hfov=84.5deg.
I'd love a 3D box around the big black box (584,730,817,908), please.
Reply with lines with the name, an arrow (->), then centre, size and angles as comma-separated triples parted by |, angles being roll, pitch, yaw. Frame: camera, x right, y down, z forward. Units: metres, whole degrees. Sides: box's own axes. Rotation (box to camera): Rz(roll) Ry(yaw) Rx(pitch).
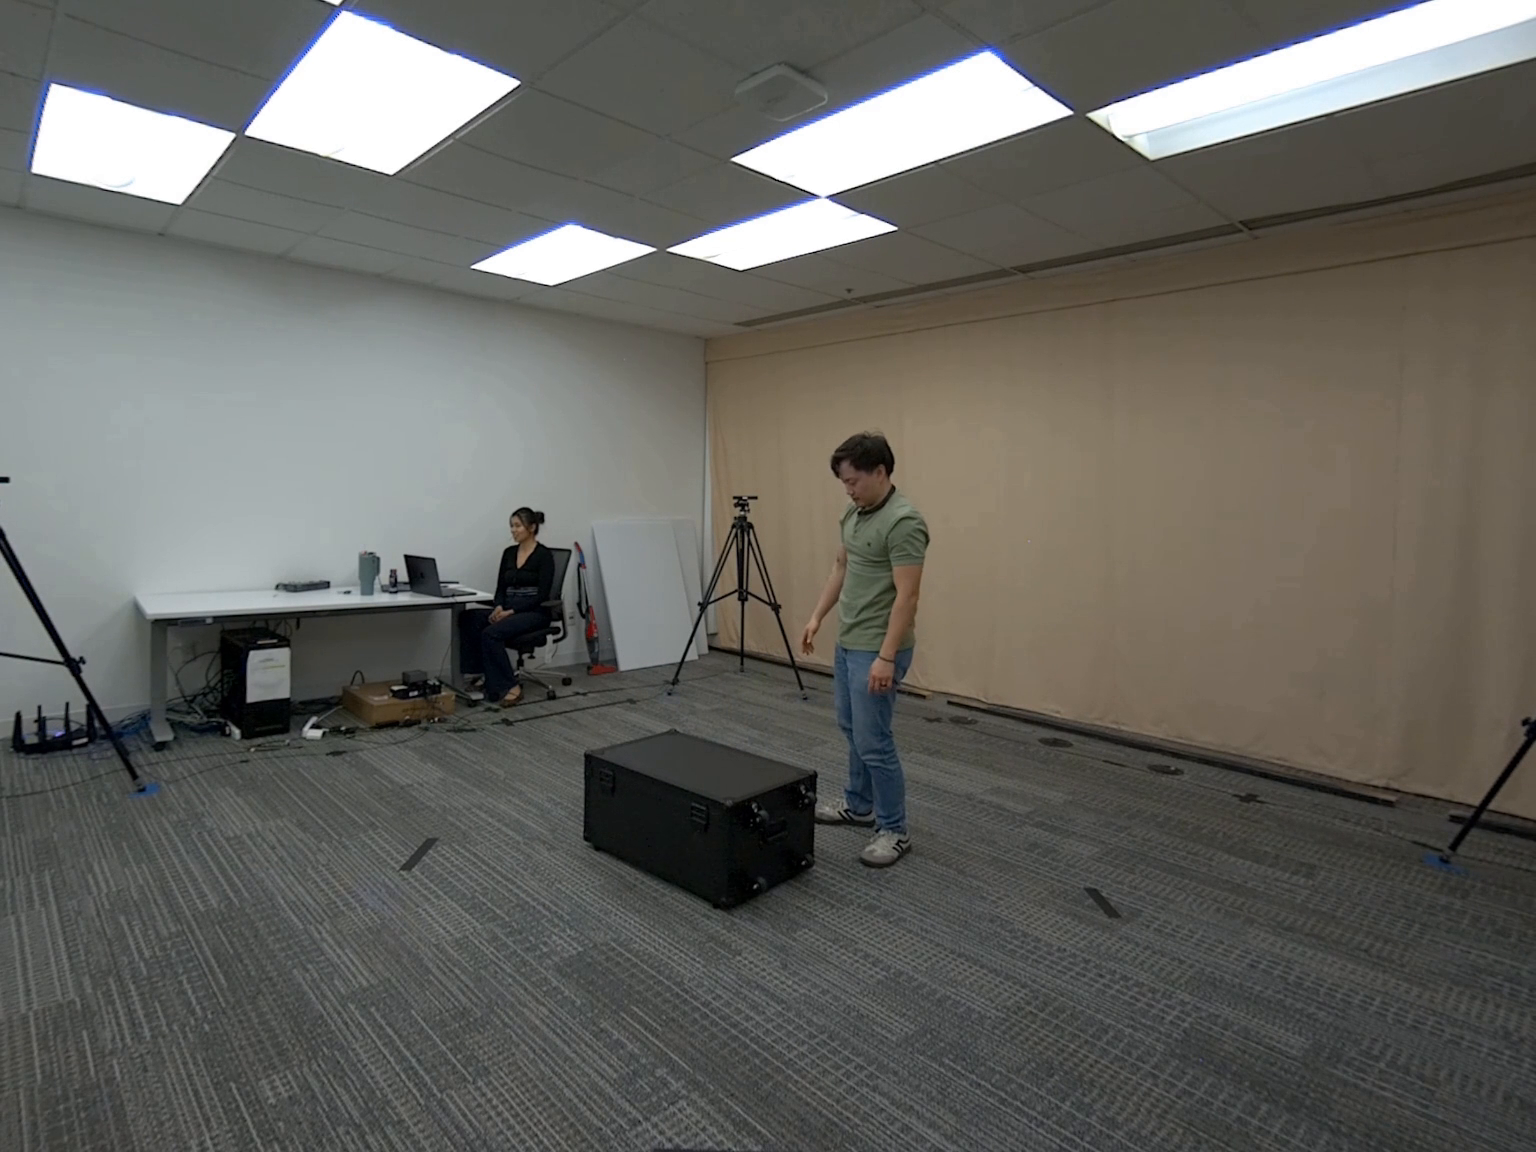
big black box -> -0.257, 0.902, 3.200 | 0.883, 0.395, 0.509 | 5, 5, 41
